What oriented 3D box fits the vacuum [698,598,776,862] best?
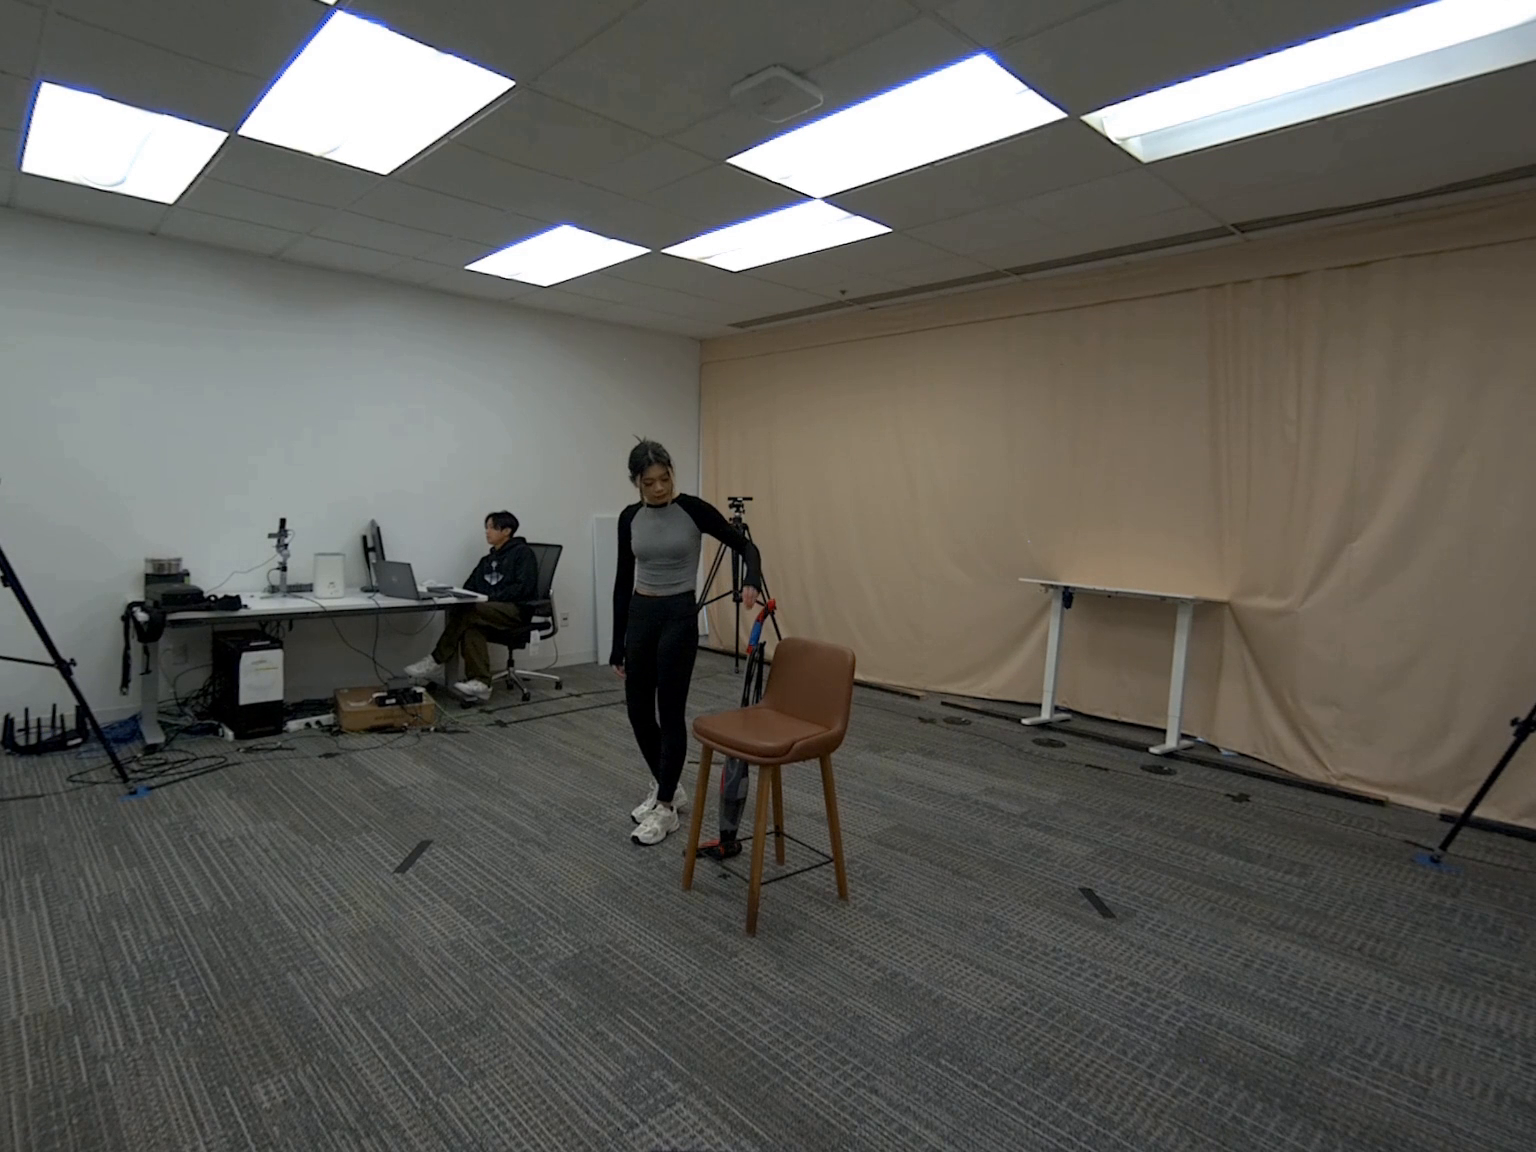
[{"bbox_3d":[-0.099,0.589,3.195,0.247,1.041,0.148,2,16,-33],"label":"vacuum"}]
